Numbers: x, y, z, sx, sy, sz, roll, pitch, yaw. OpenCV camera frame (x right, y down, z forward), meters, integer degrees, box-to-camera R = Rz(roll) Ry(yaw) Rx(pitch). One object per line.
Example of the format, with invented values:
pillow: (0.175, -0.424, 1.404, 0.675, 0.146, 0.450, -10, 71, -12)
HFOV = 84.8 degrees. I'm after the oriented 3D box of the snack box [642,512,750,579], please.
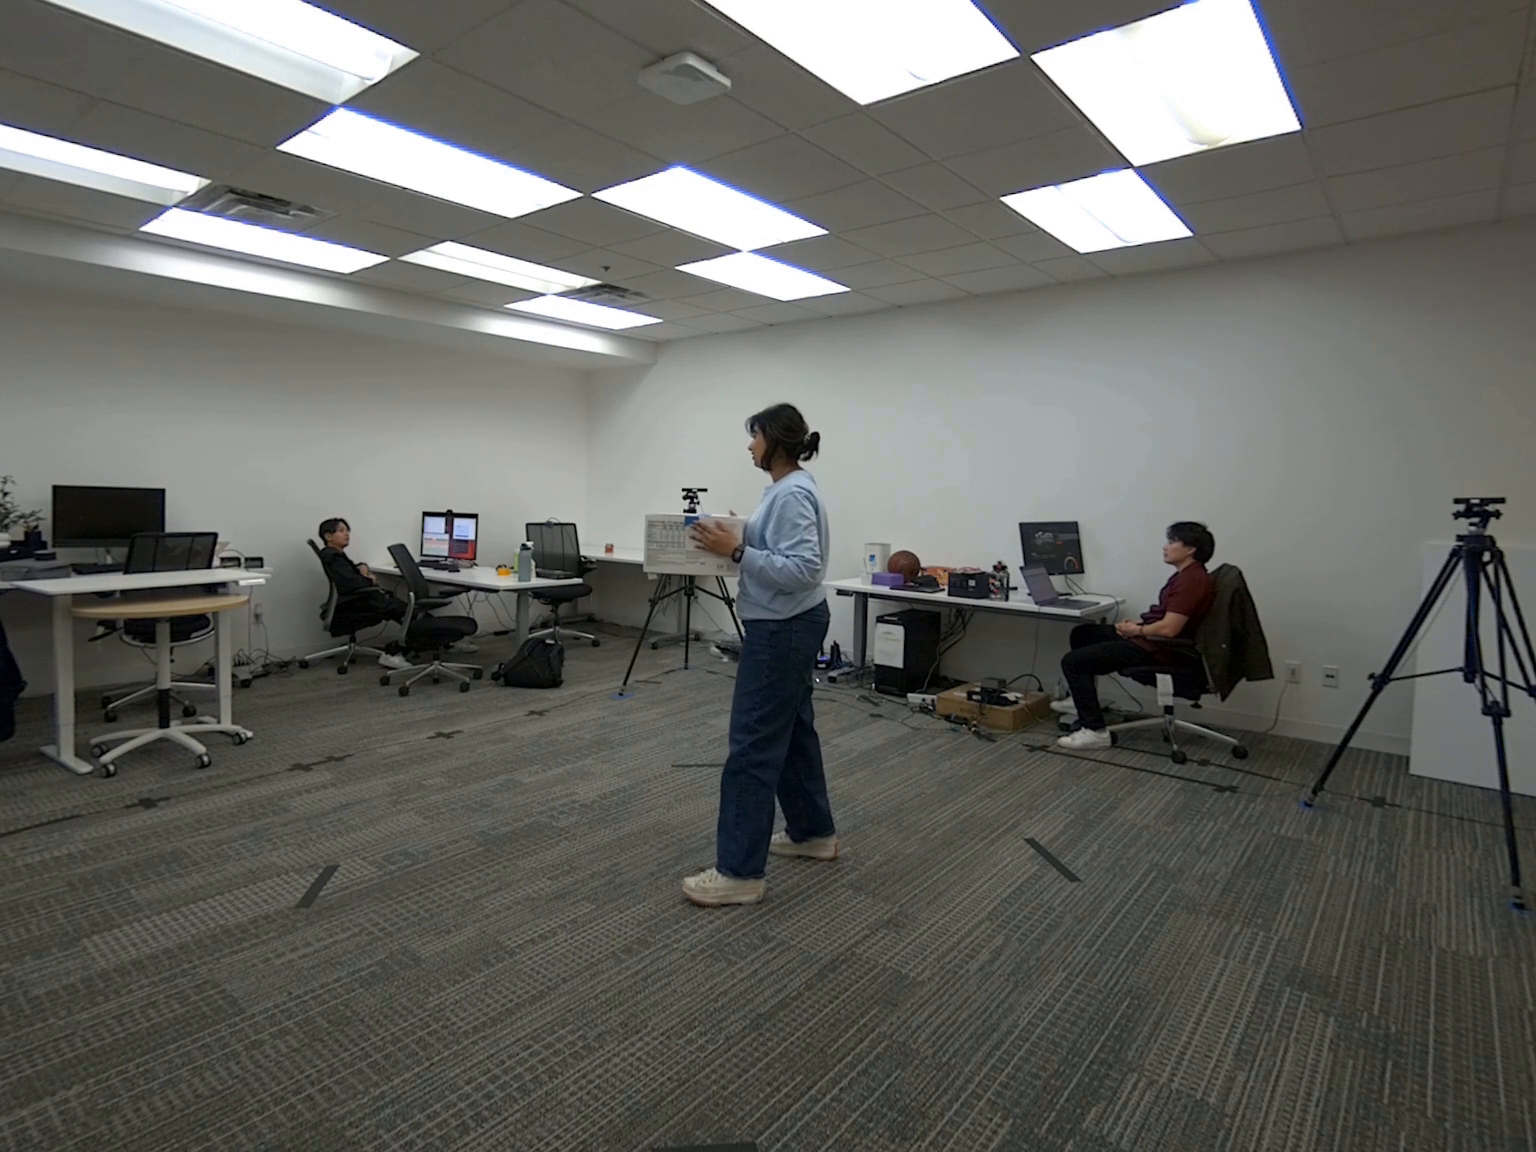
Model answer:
snack box: (-0.258, -0.122, 3.110, 0.342, 0.205, 0.404, 3, 5, 4)
